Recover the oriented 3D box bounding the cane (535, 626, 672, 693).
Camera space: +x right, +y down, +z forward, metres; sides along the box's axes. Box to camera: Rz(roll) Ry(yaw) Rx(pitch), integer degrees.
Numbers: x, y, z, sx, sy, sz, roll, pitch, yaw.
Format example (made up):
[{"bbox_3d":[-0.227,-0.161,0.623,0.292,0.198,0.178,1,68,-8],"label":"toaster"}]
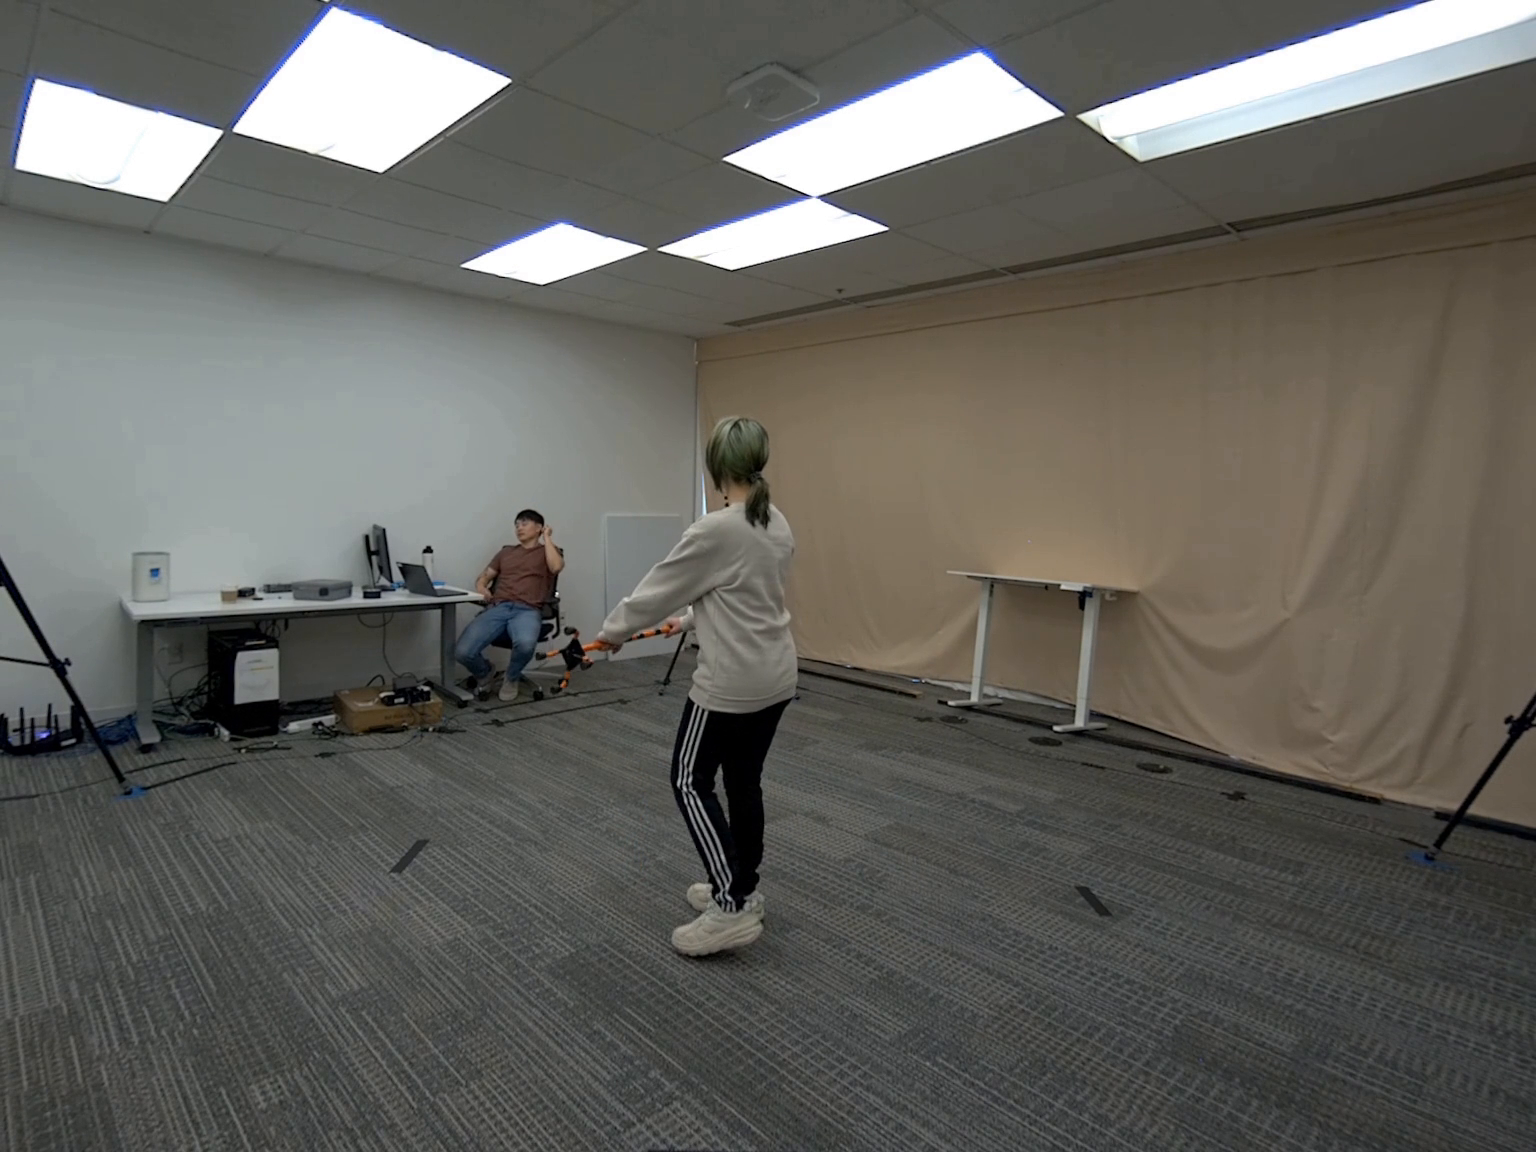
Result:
[{"bbox_3d":[-0.382,0.214,2.999,0.207,0.154,0.890,-37,-16,37],"label":"cane"}]
